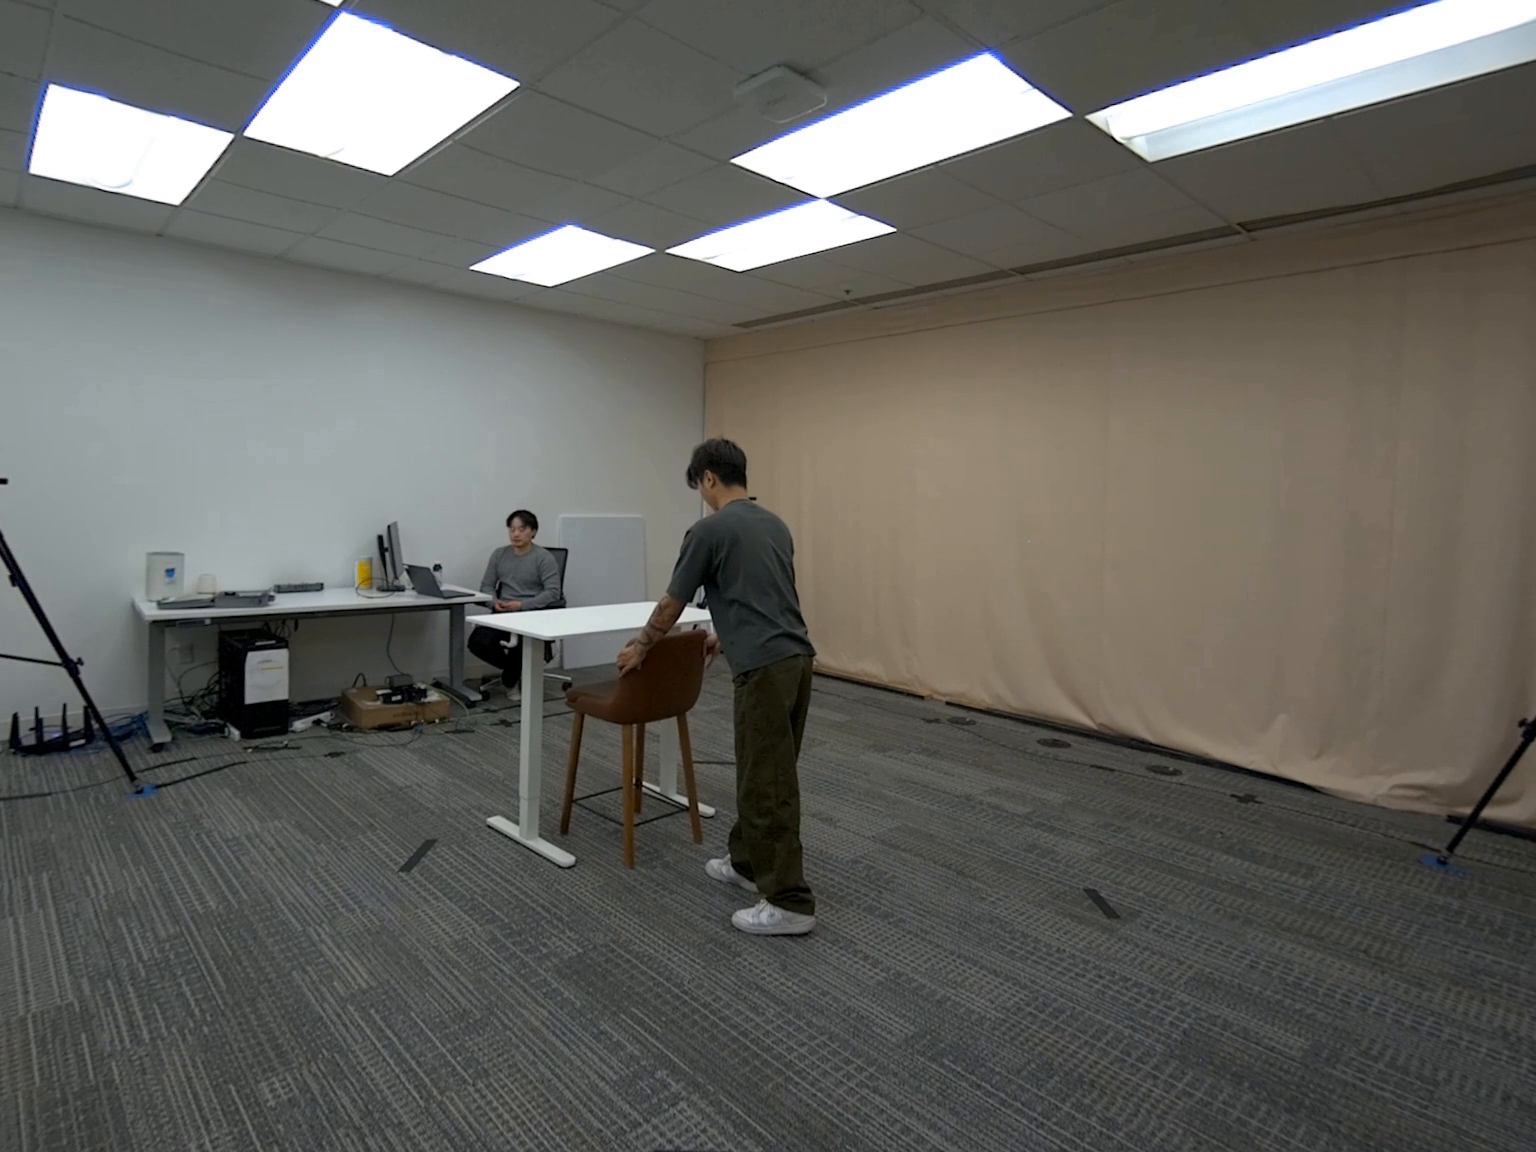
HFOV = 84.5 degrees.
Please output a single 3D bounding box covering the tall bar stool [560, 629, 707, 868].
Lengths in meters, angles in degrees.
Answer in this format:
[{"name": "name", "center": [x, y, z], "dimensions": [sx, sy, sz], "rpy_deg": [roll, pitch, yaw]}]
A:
[{"name": "tall bar stool", "center": [-0.540, 0.633, 3.399], "dimensions": [0.446, 0.886, 0.480], "rpy_deg": [-1, 8, -45]}]
